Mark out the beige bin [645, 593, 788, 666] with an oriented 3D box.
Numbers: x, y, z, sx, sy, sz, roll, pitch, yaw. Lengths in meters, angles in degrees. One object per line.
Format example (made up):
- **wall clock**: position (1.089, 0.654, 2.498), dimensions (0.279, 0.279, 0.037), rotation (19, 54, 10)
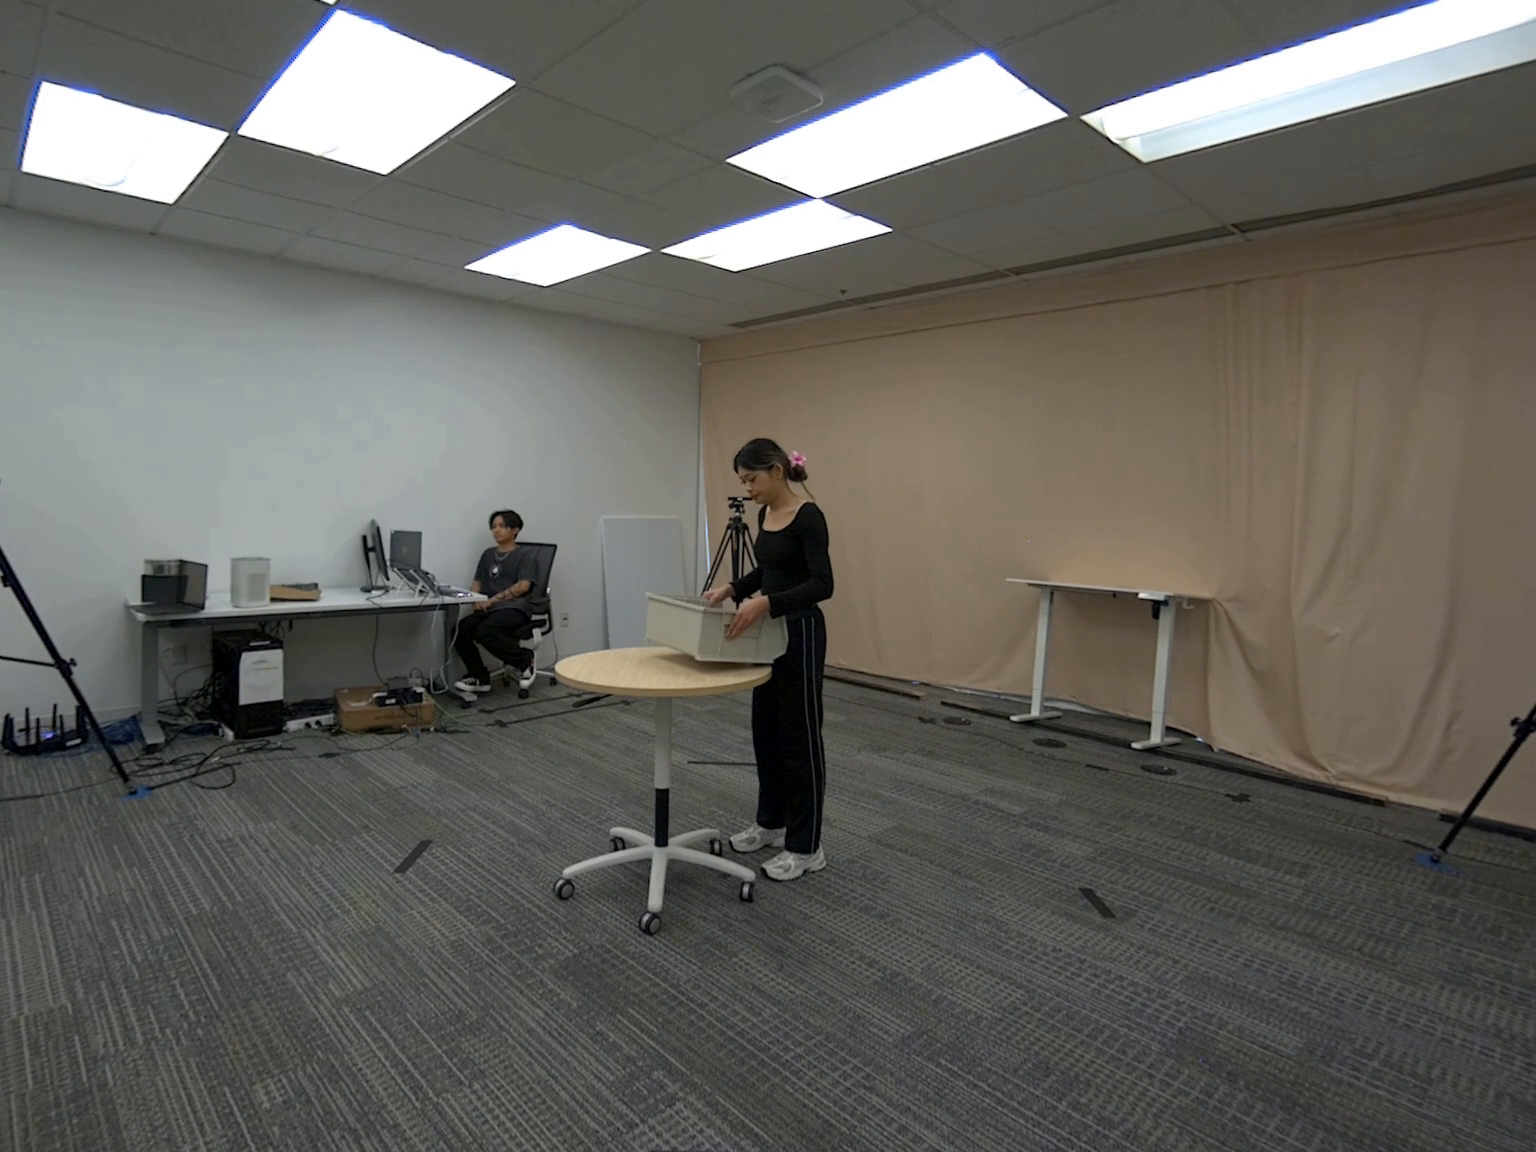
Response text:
- **beige bin**: position (-0.202, 0.187, 3.088), dimensions (0.368, 0.188, 0.433), rotation (3, 5, -35)
